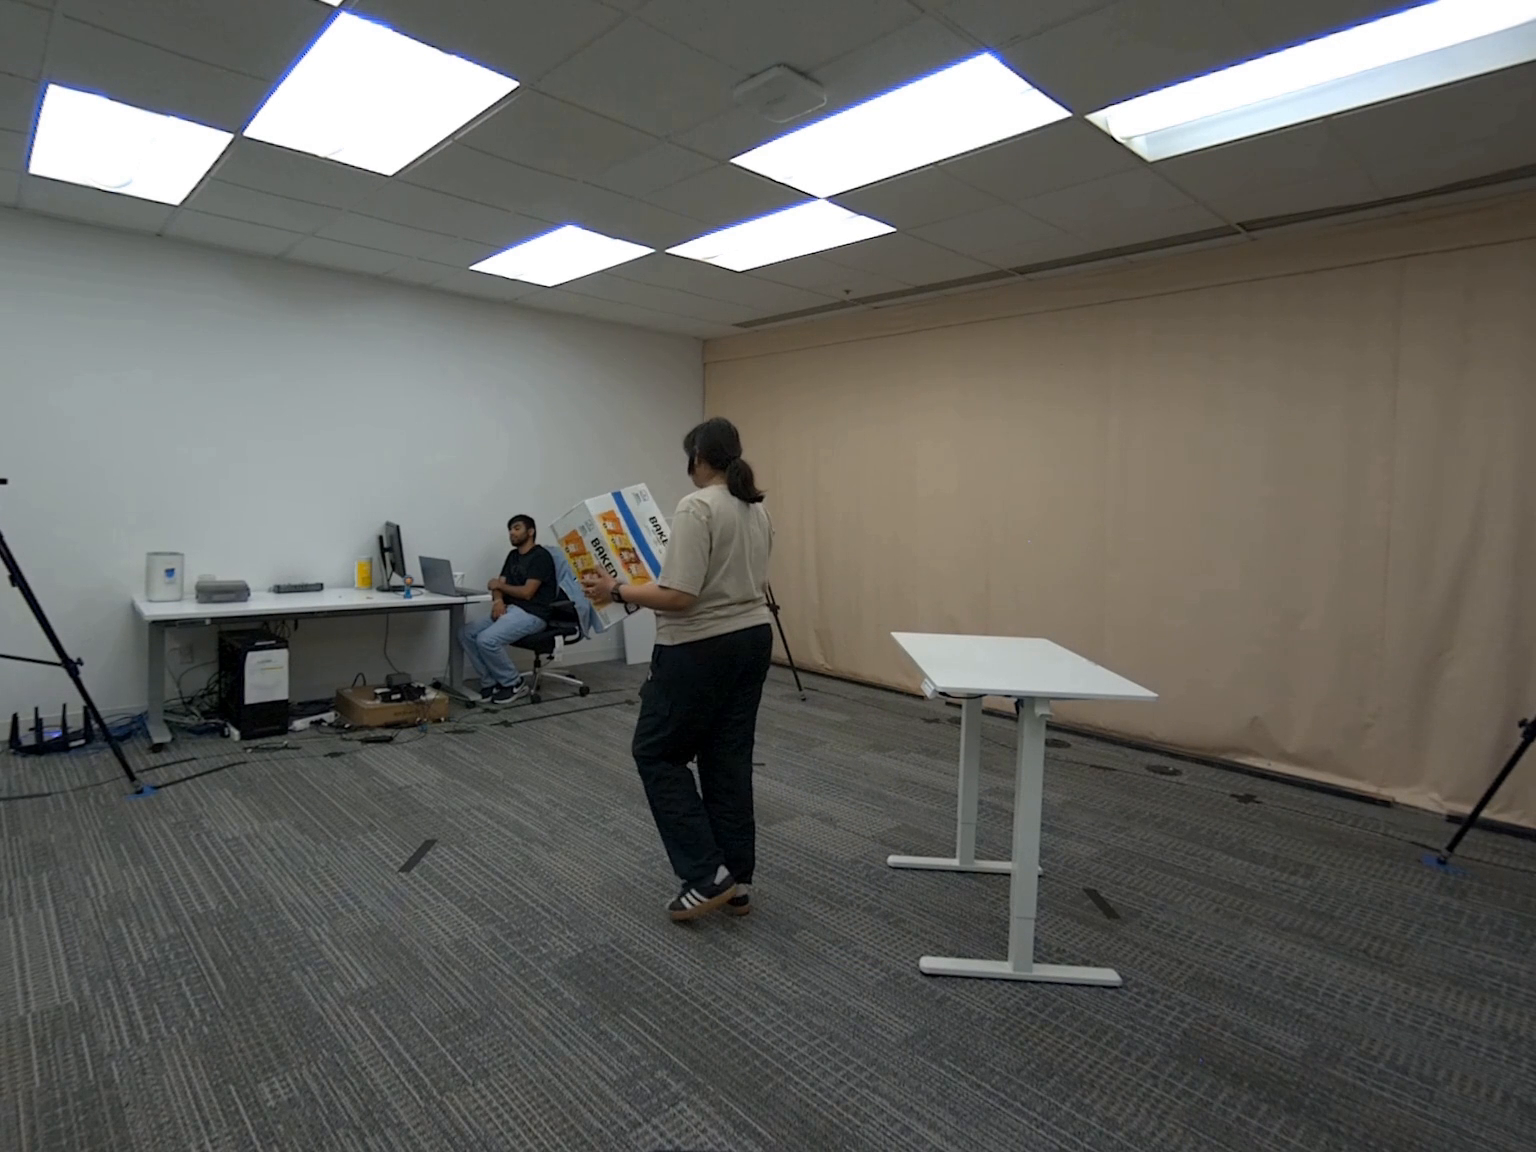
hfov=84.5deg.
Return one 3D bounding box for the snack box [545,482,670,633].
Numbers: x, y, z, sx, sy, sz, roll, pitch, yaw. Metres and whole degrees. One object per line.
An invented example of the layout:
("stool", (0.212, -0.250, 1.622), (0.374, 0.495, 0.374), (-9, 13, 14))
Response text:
("snack box", (-0.506, -0.073, 2.952), (0.207, 0.406, 0.336), (-30, -2, 33))
